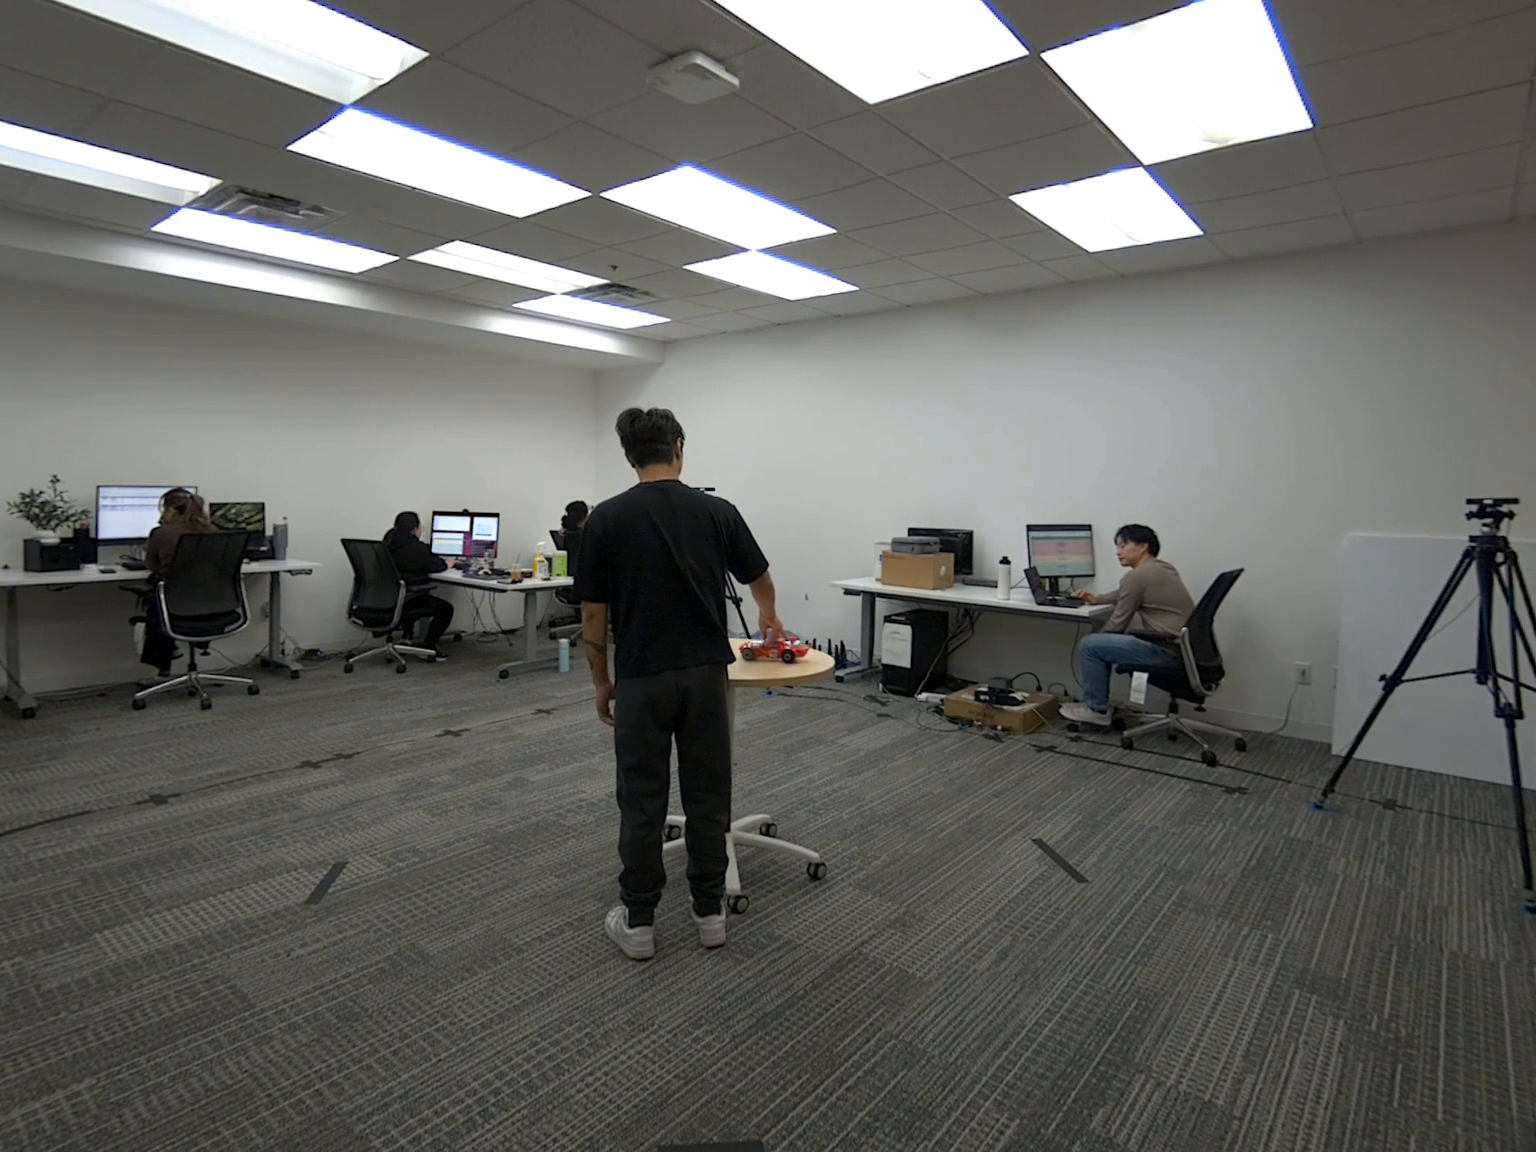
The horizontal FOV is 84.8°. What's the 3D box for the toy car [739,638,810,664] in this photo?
[{"bbox_3d":[0.020,0.266,3.041,0.258,0.083,0.129,-8,3,13],"label":"toy car"}]
